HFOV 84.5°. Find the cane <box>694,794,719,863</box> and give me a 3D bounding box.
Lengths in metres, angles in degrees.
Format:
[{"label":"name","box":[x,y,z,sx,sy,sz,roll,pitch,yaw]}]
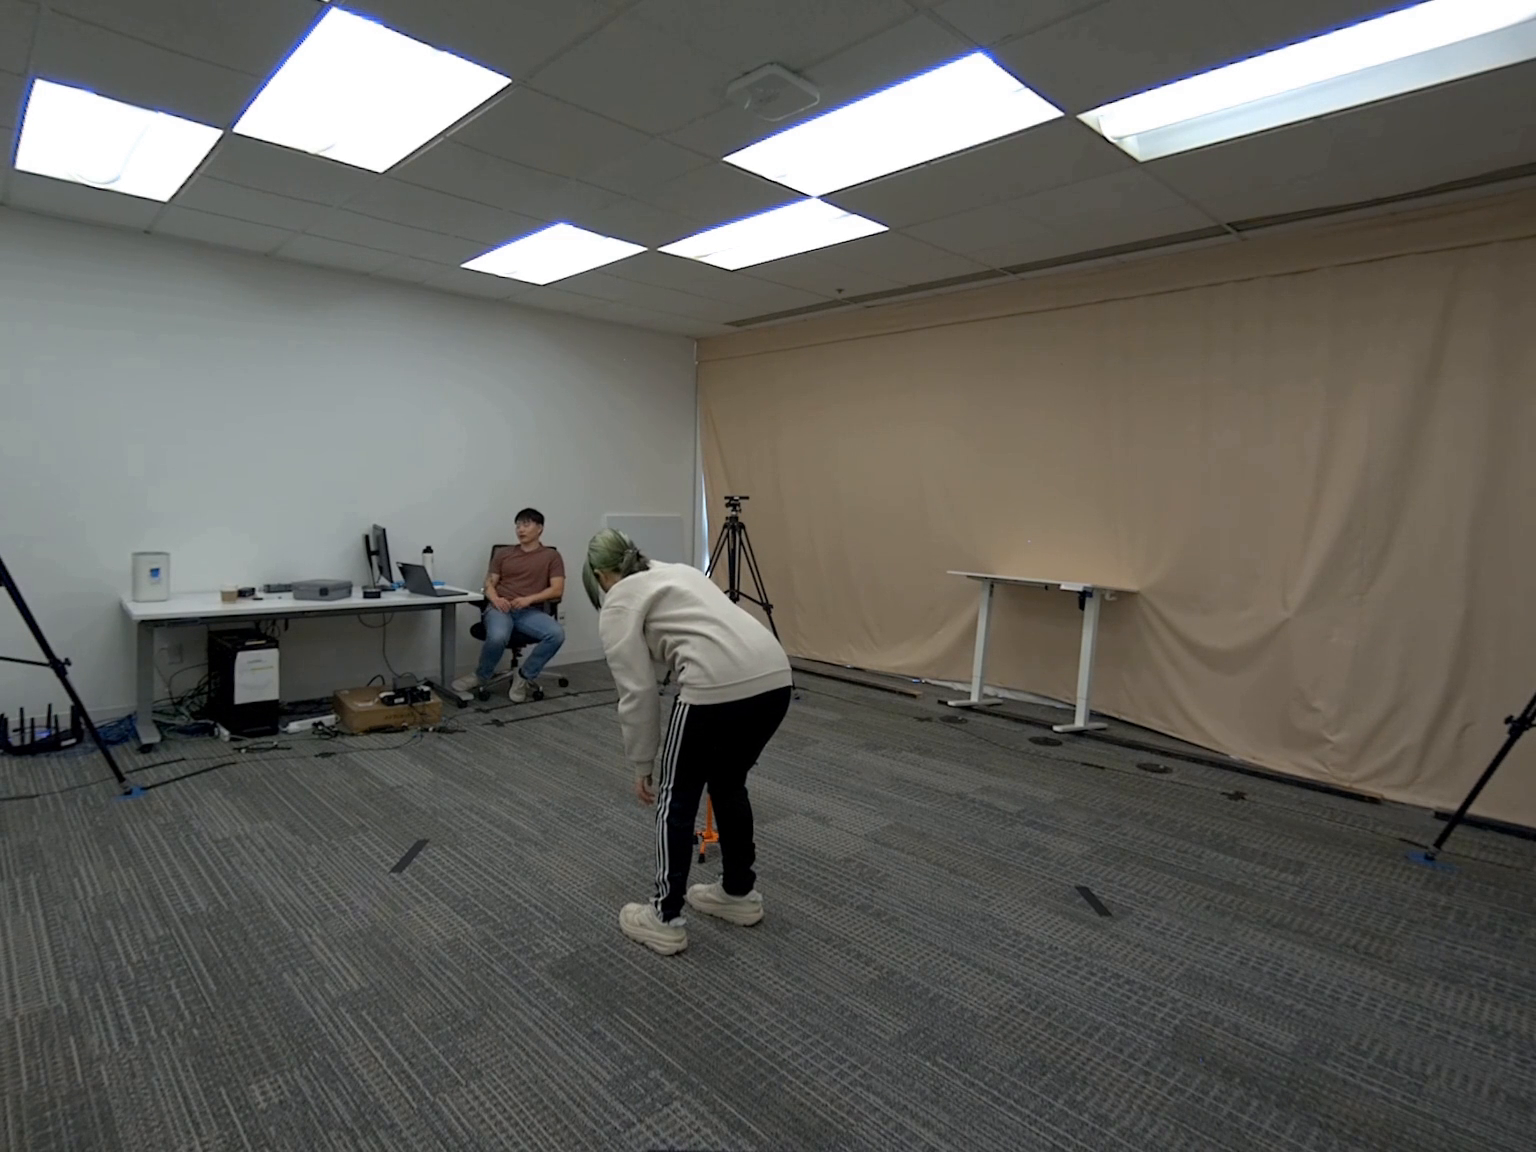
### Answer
[{"label":"cane","box":[-0.212,0.638,3.293,0.150,0.907,0.208,0,2,-12]}]
